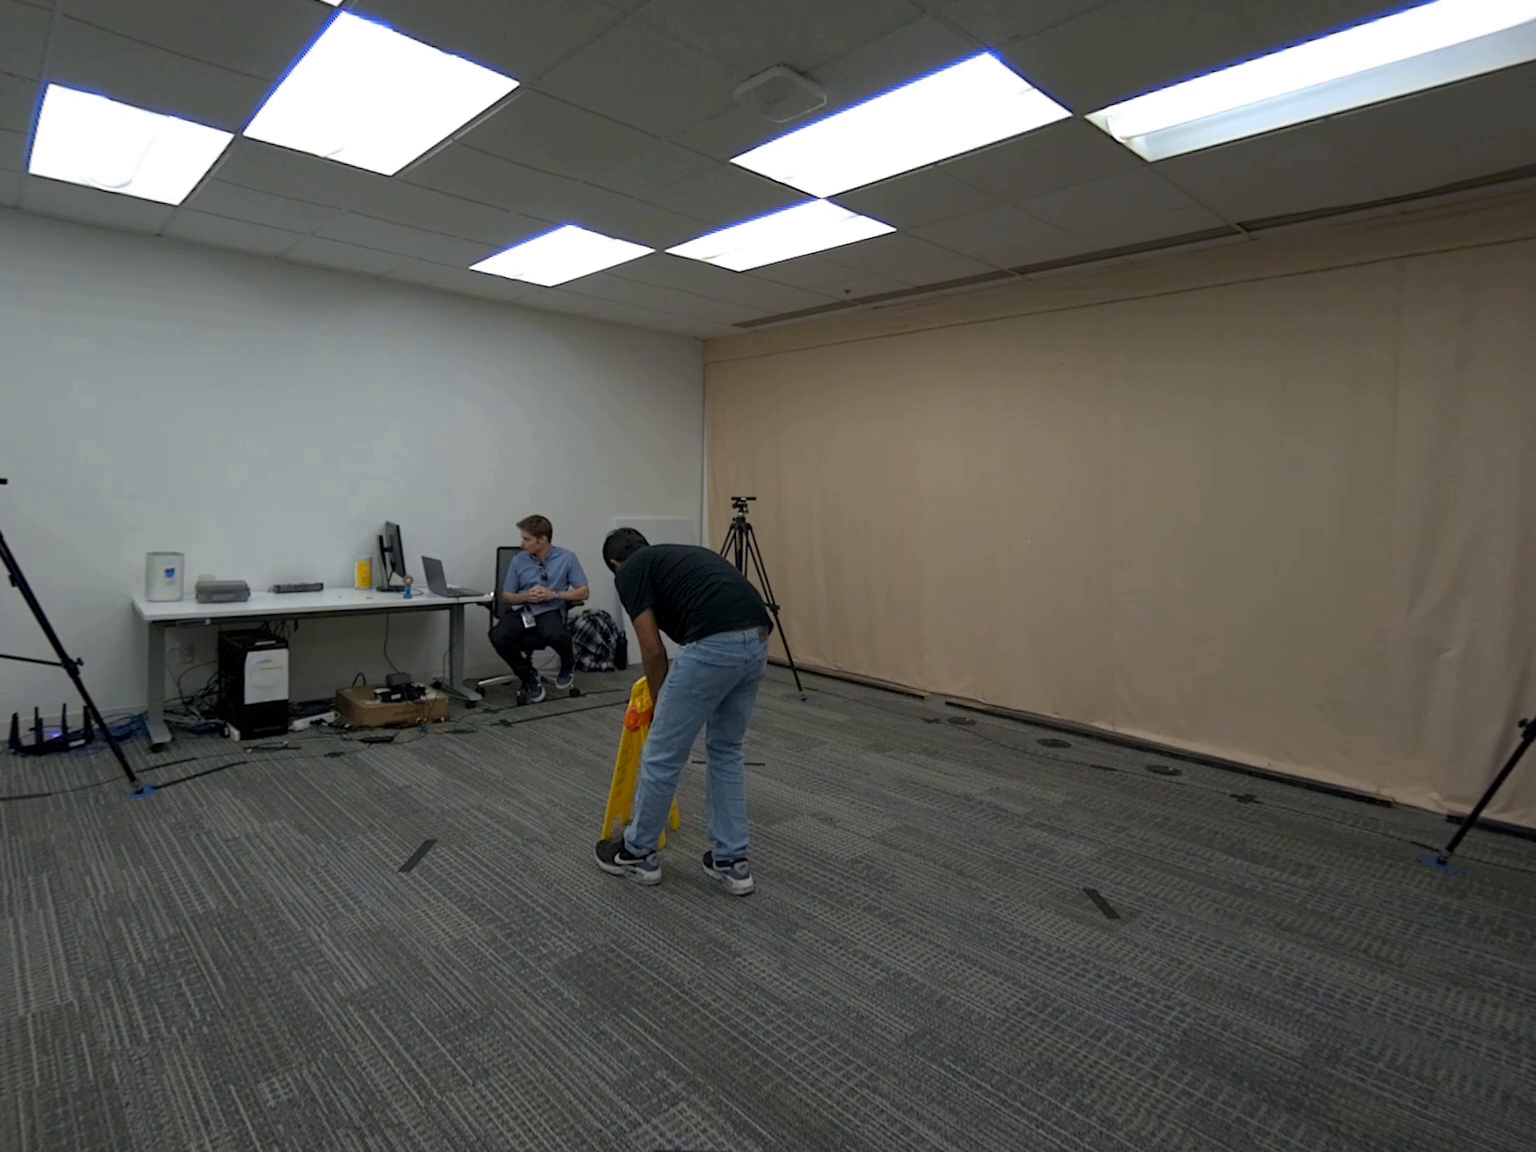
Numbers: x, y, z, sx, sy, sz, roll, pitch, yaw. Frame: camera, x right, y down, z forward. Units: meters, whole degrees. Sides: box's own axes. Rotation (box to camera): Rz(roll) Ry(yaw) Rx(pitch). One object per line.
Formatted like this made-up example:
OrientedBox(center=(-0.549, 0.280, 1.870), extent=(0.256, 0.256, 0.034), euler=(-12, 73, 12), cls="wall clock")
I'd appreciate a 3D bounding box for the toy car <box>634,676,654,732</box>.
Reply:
OrientedBox(center=(-0.452, 0.534, 3.456), extent=(0.084, 0.255, 0.129), euler=(-16, -1, 11), cls="toy car")
